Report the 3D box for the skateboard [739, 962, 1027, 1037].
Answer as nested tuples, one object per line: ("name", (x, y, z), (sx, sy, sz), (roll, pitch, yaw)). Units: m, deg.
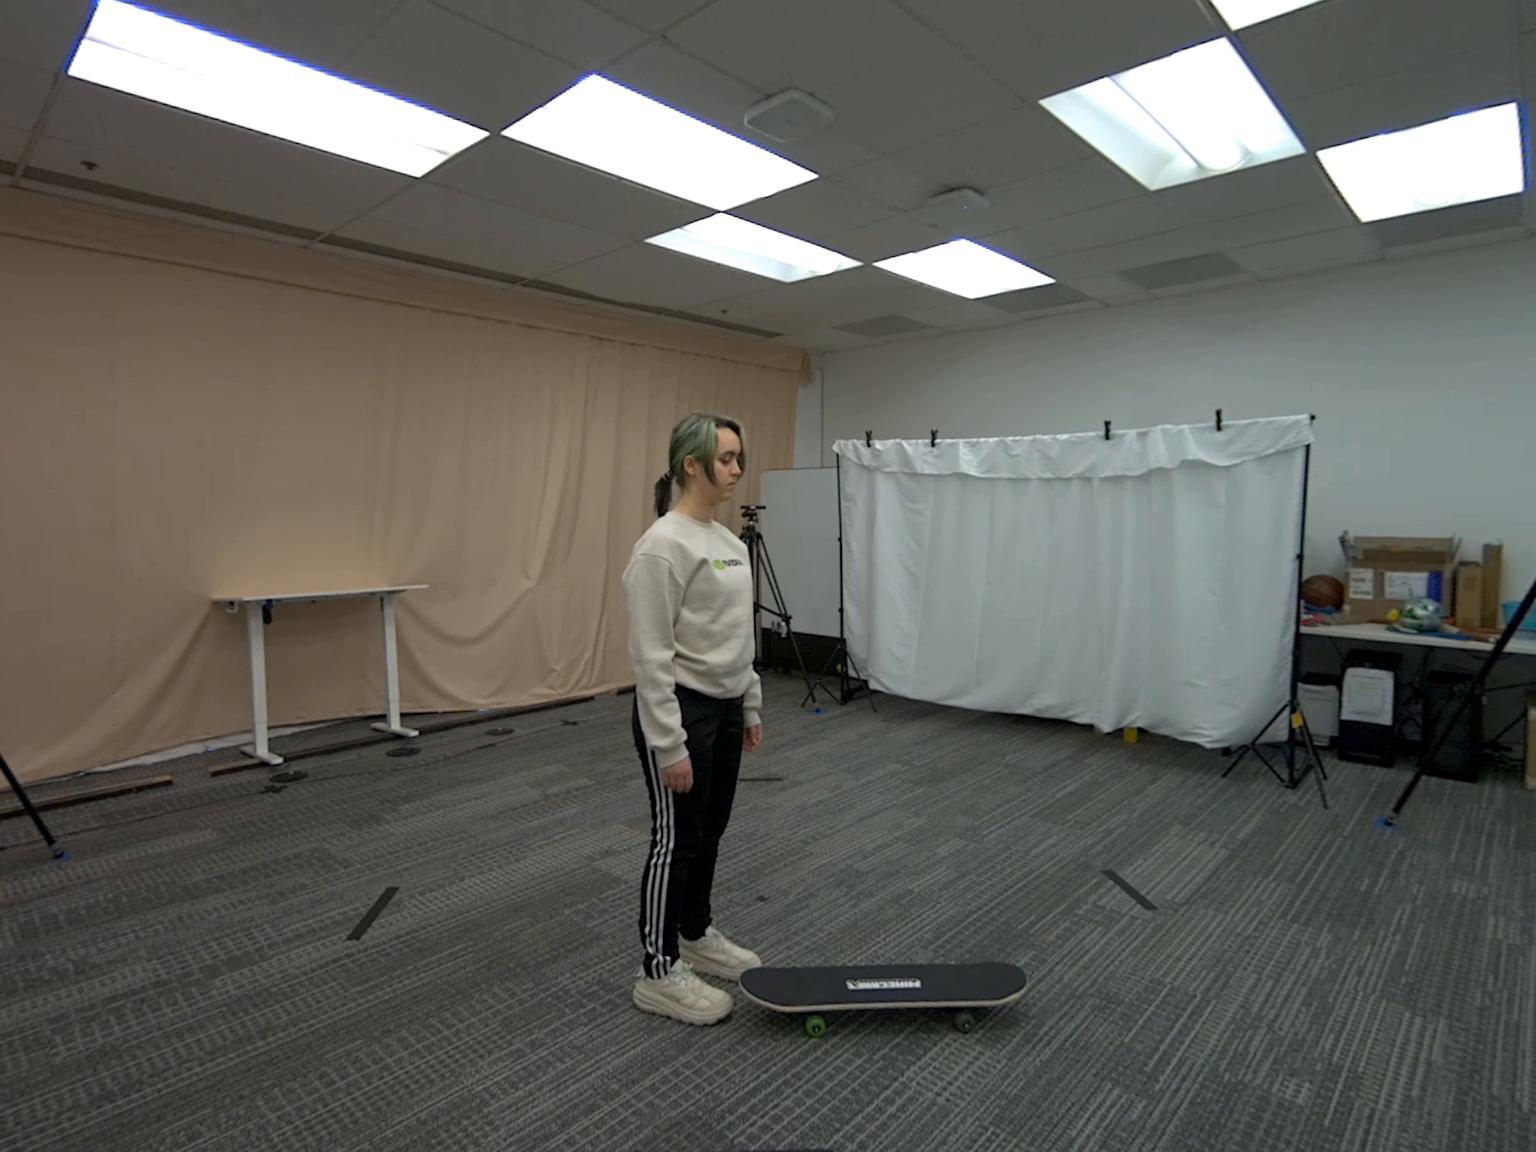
("skateboard", (0.318, 1.139, 2.299), (0.783, 0.110, 0.194), (-1, 4, -3))
